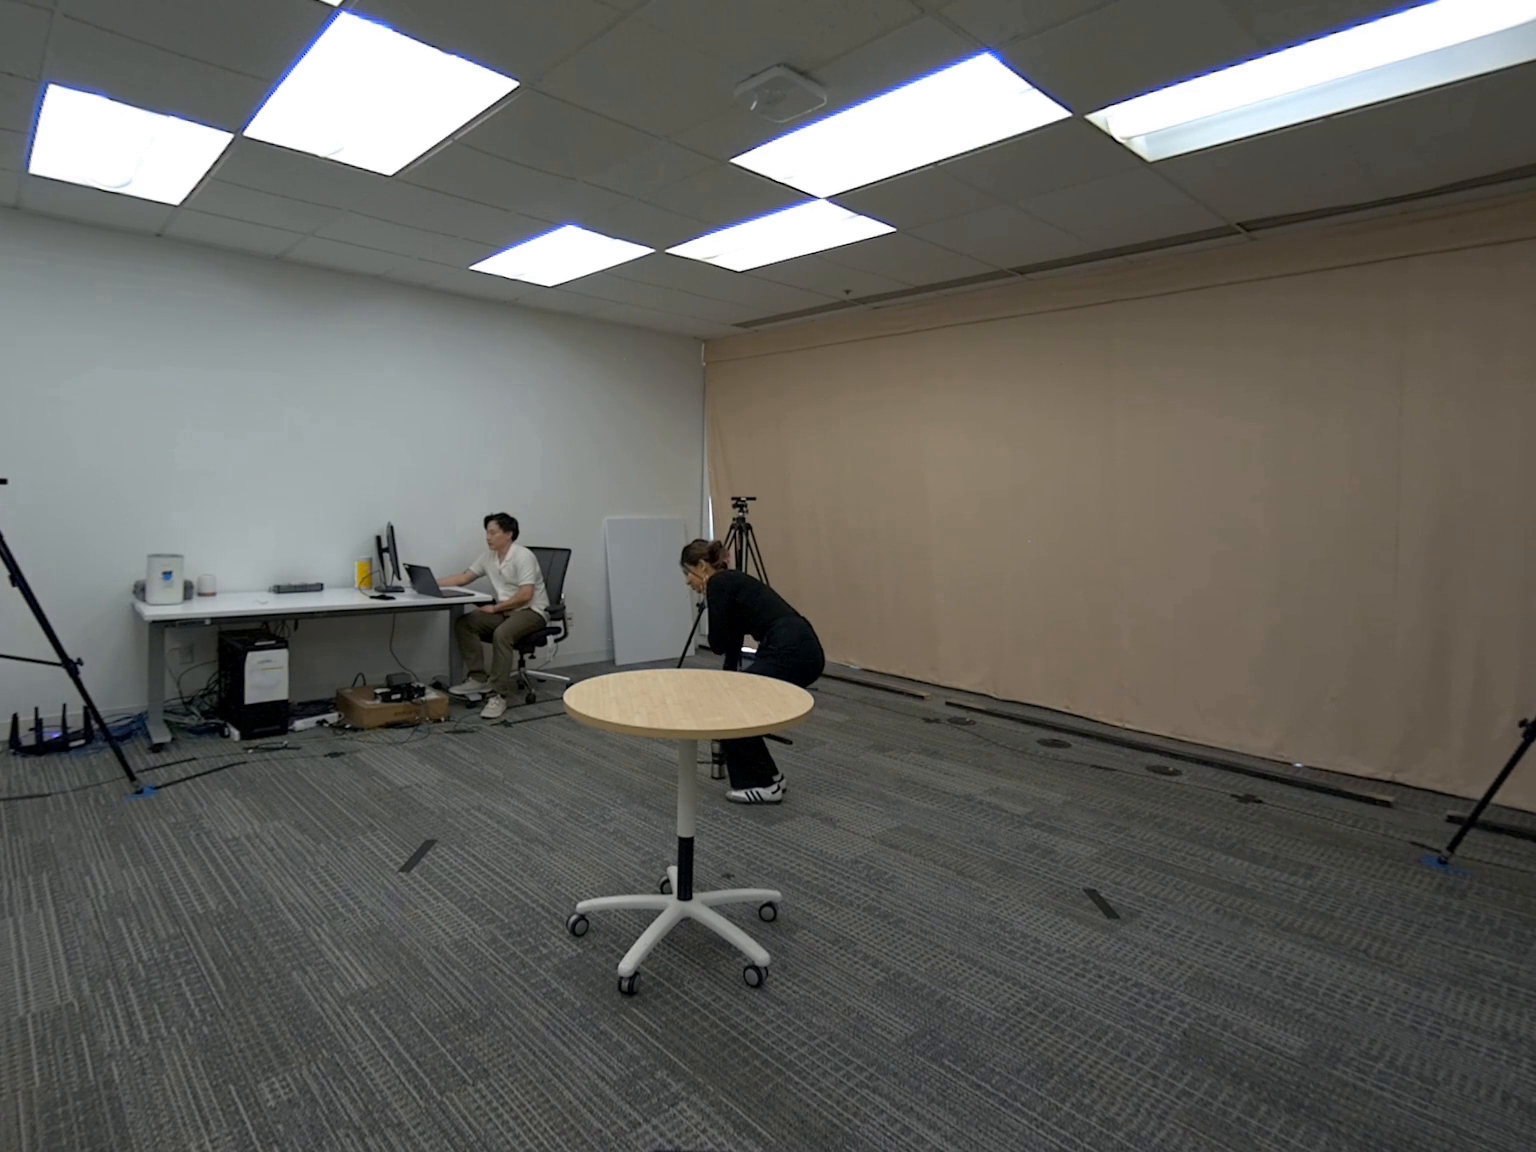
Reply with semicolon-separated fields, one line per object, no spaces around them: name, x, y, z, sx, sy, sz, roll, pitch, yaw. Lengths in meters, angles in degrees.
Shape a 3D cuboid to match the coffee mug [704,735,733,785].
coffee mug;-0.238;0.916;4.233;0.119;0.202;0.090;-6;6;-38
